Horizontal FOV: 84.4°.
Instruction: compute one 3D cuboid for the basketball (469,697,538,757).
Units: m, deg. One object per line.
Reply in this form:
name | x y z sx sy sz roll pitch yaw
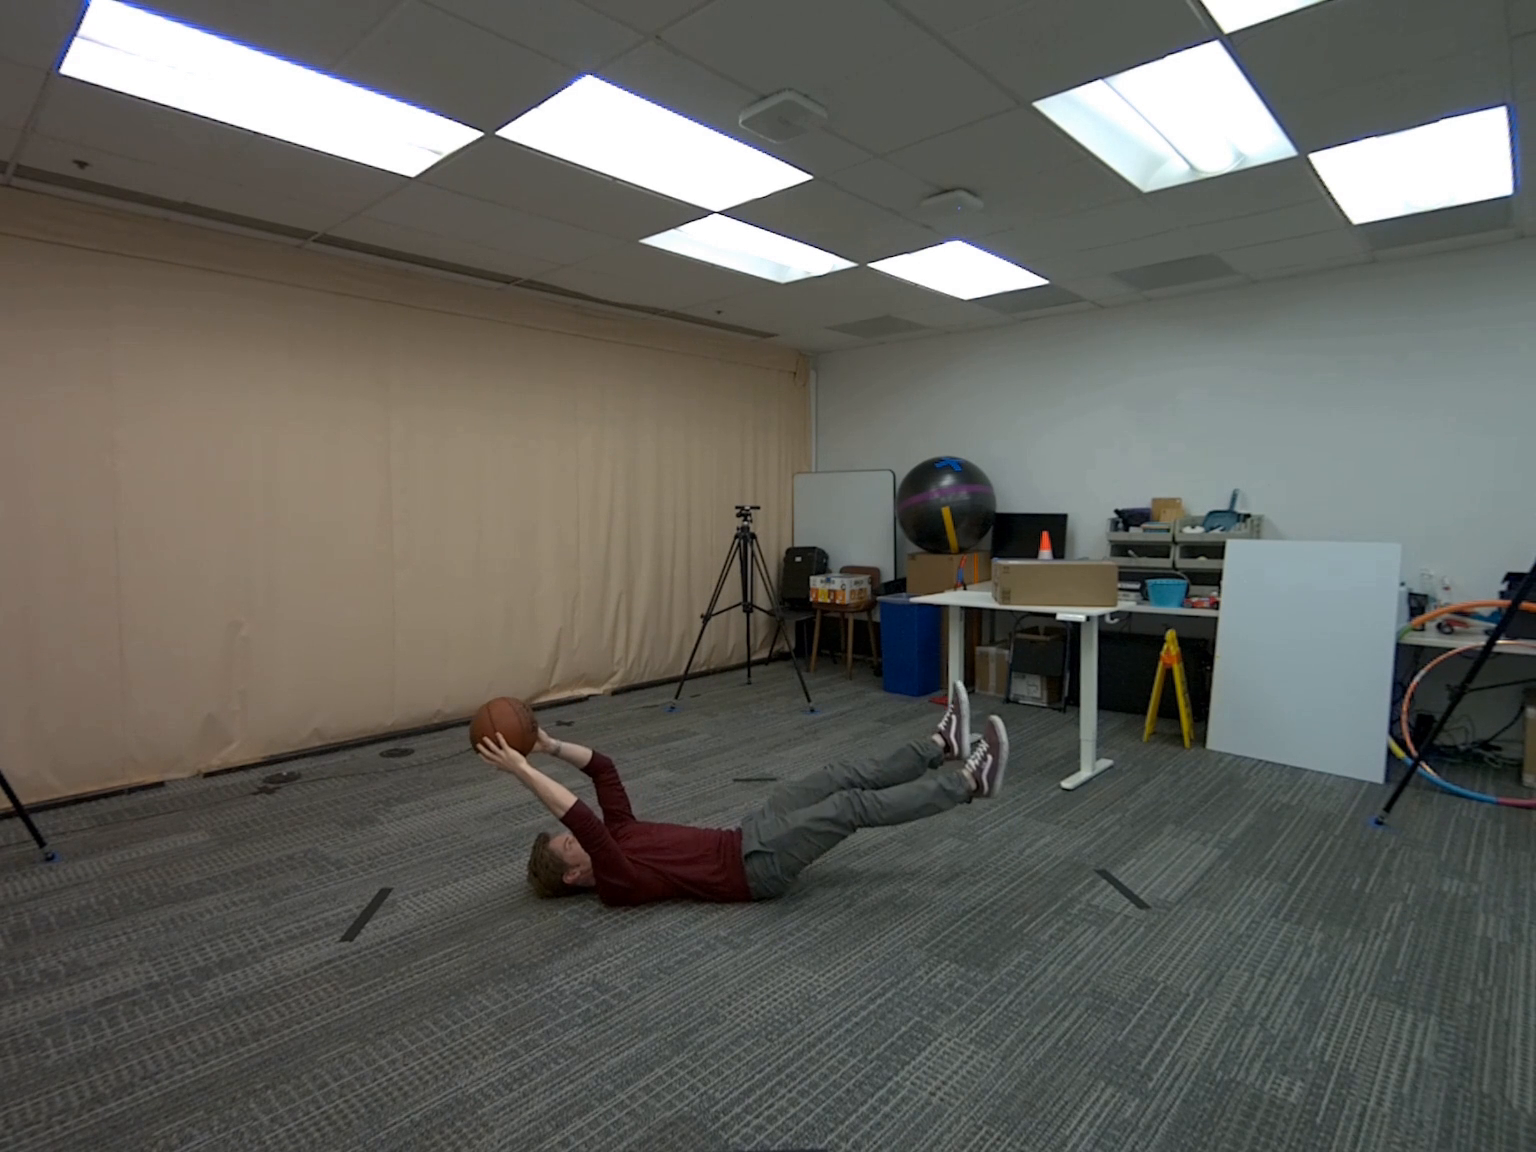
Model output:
basketball | -0.931 0.545 2.990 0.236 0.235 0.237 0 4 -2
